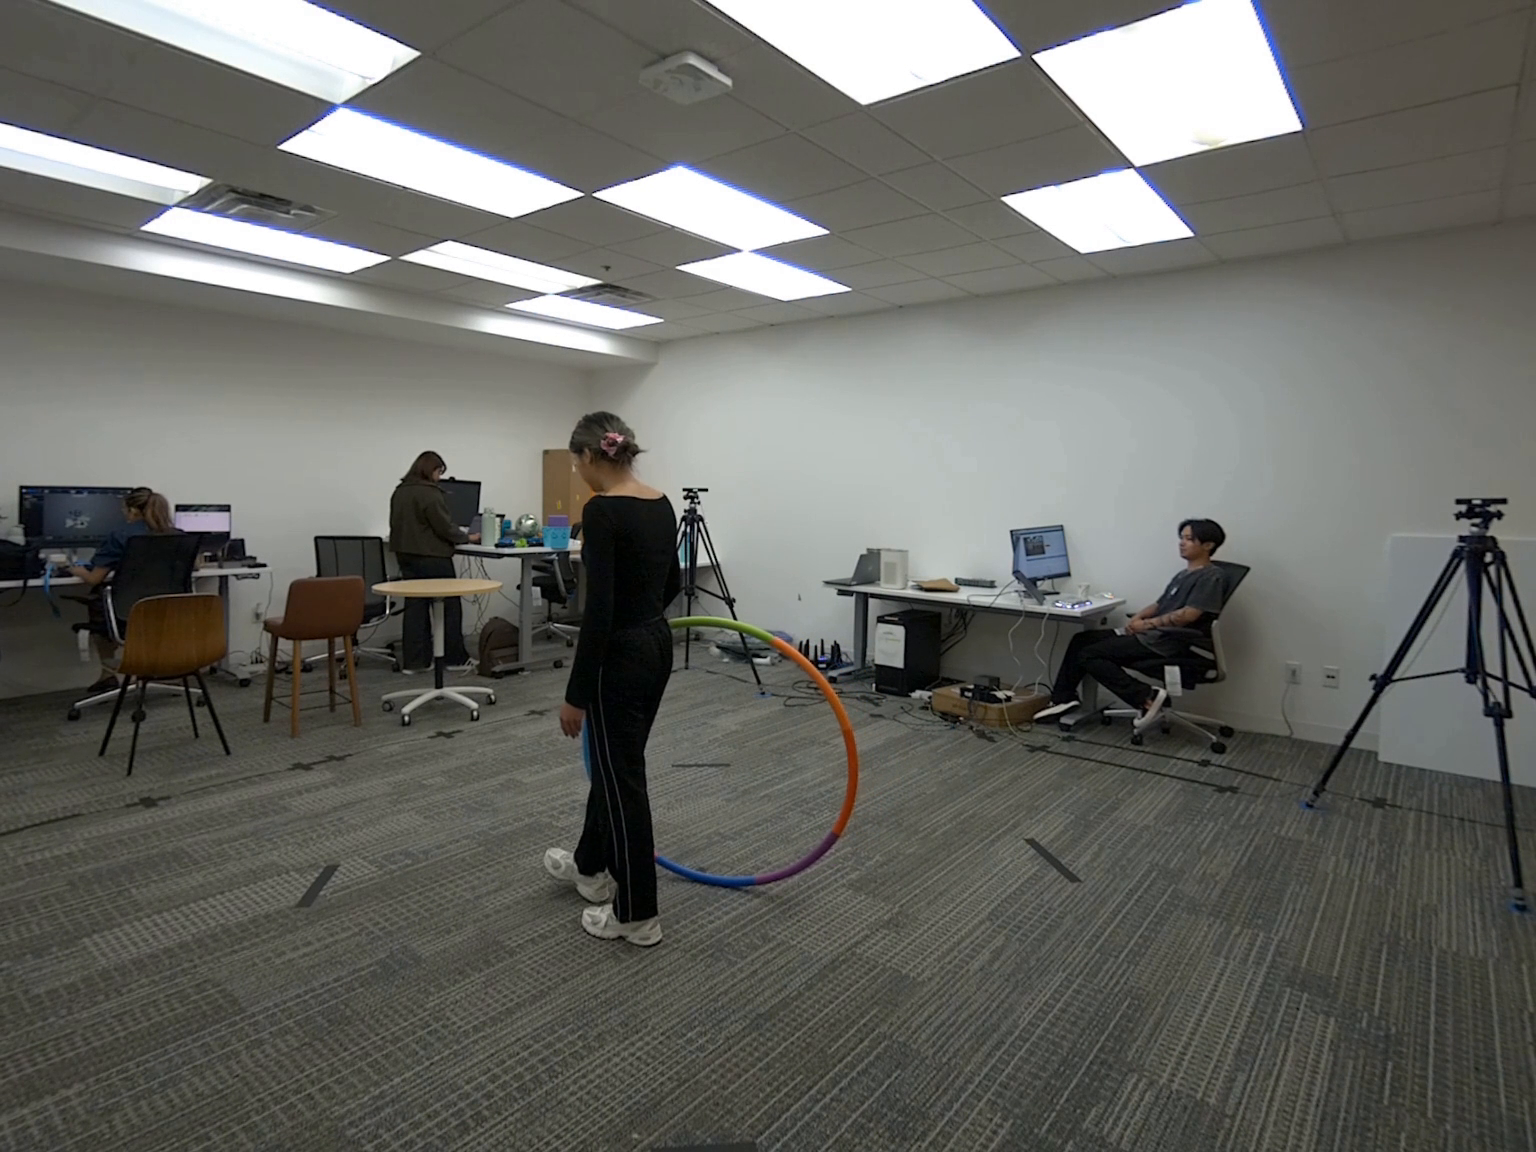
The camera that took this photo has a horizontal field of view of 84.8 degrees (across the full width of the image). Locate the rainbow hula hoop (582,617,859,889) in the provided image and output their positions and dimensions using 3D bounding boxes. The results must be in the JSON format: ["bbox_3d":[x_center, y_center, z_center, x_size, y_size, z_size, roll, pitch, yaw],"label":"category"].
[{"bbox_3d":[-0.192,0.615,2.914,0.998,0.970,0.035,2,9,18],"label":"rainbow hula hoop"}]
